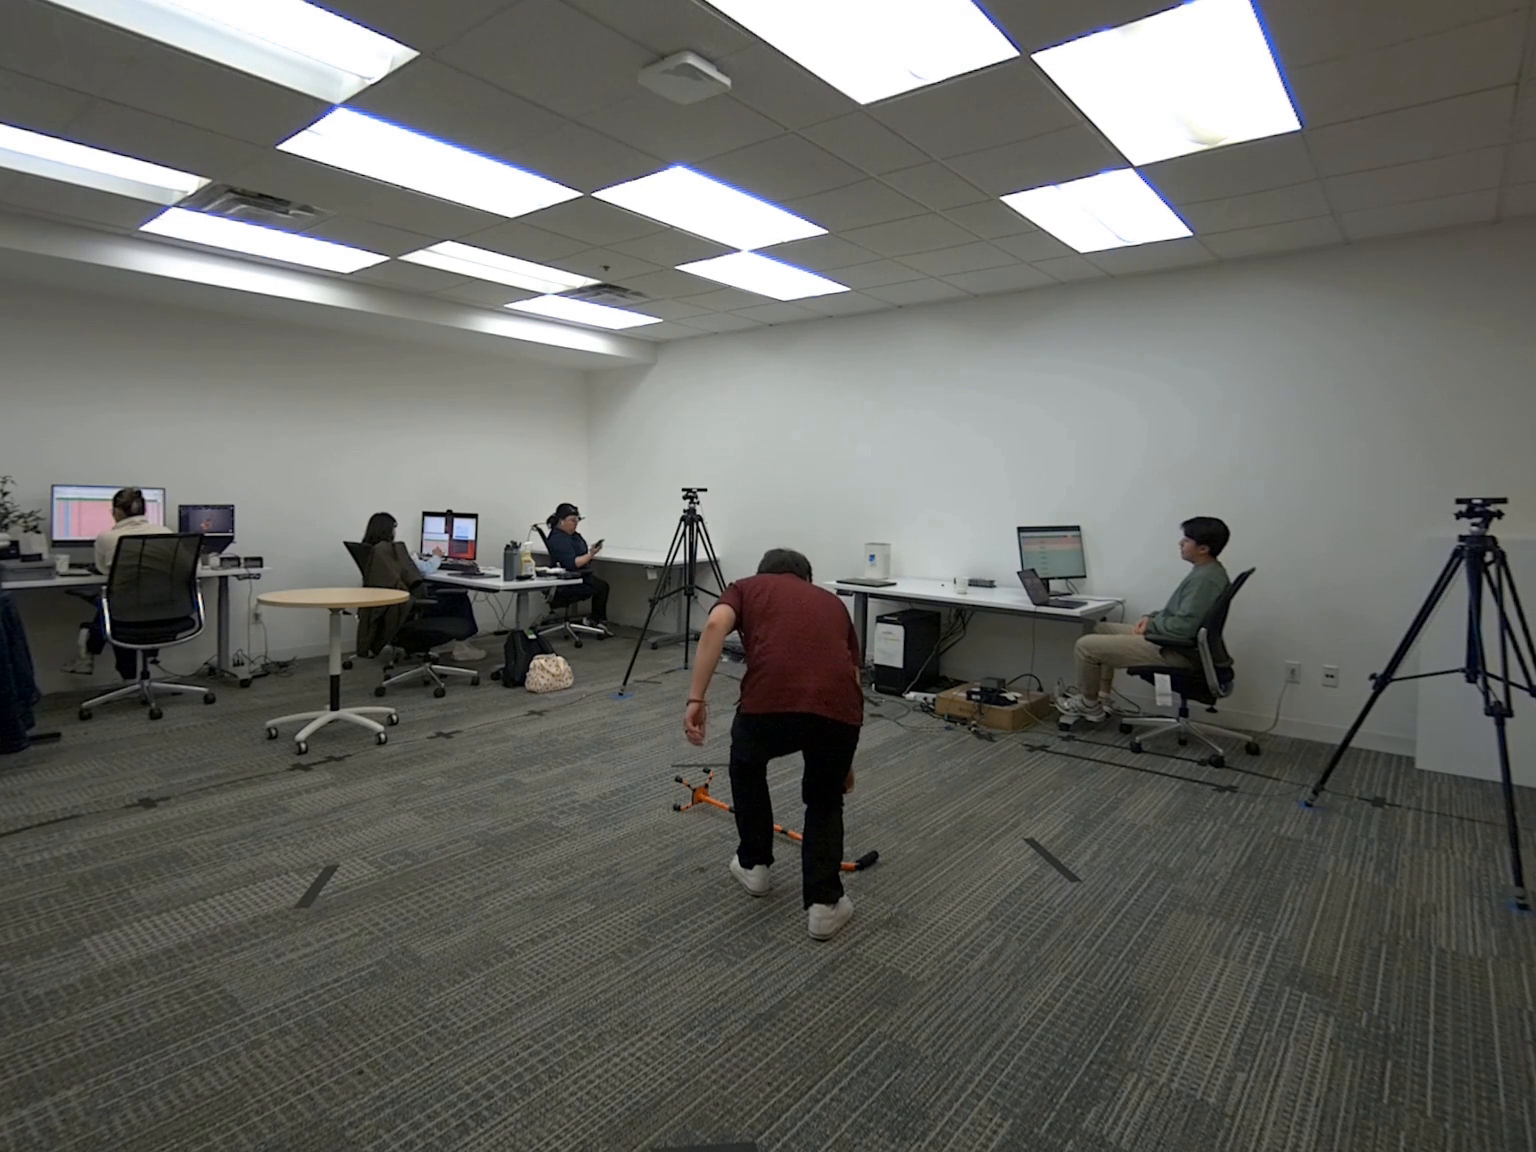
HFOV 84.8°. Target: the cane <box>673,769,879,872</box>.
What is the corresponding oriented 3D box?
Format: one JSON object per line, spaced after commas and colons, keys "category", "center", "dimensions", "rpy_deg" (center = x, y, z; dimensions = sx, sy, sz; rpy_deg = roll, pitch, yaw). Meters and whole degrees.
{"category": "cane", "center": [-0.002, 0.987, 3.441], "dimensions": [0.941, 0.151, 0.200], "rpy_deg": [10, 10, 40]}
